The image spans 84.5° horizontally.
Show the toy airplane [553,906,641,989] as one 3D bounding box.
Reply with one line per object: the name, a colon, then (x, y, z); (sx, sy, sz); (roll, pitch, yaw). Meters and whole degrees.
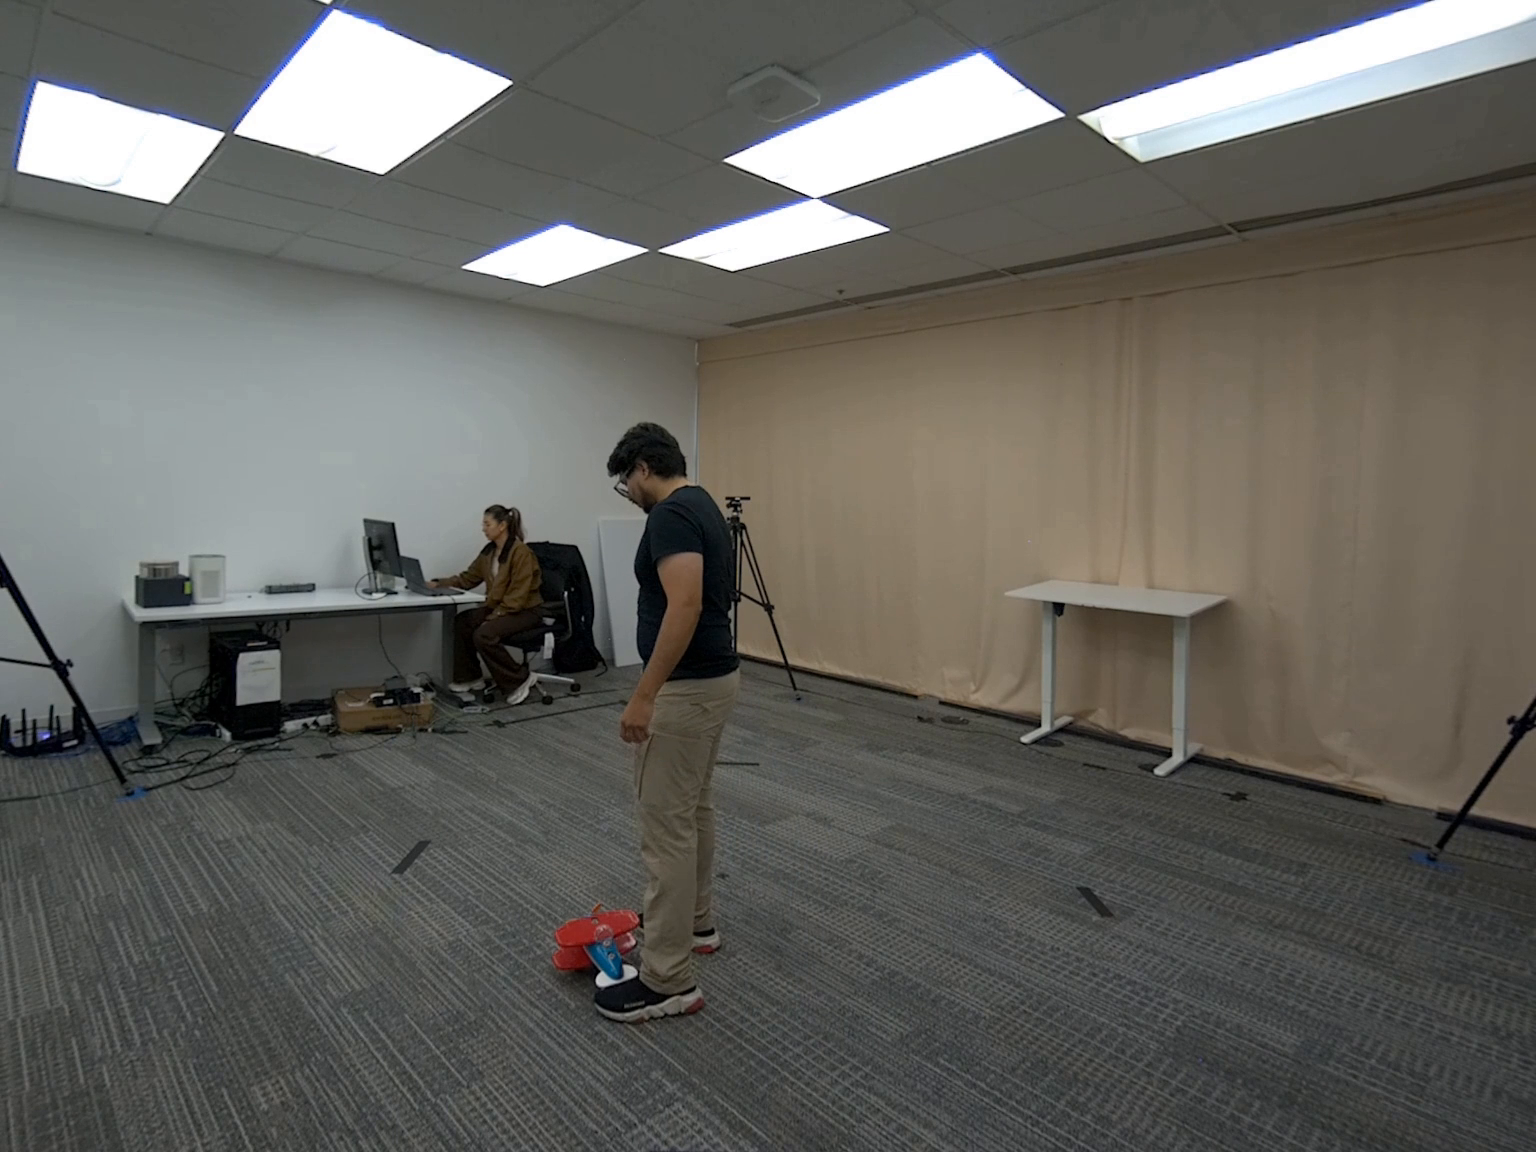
toy airplane: (-0.475, 1.090, 2.431); (0.265, 0.156, 0.246); (3, 5, 28)
